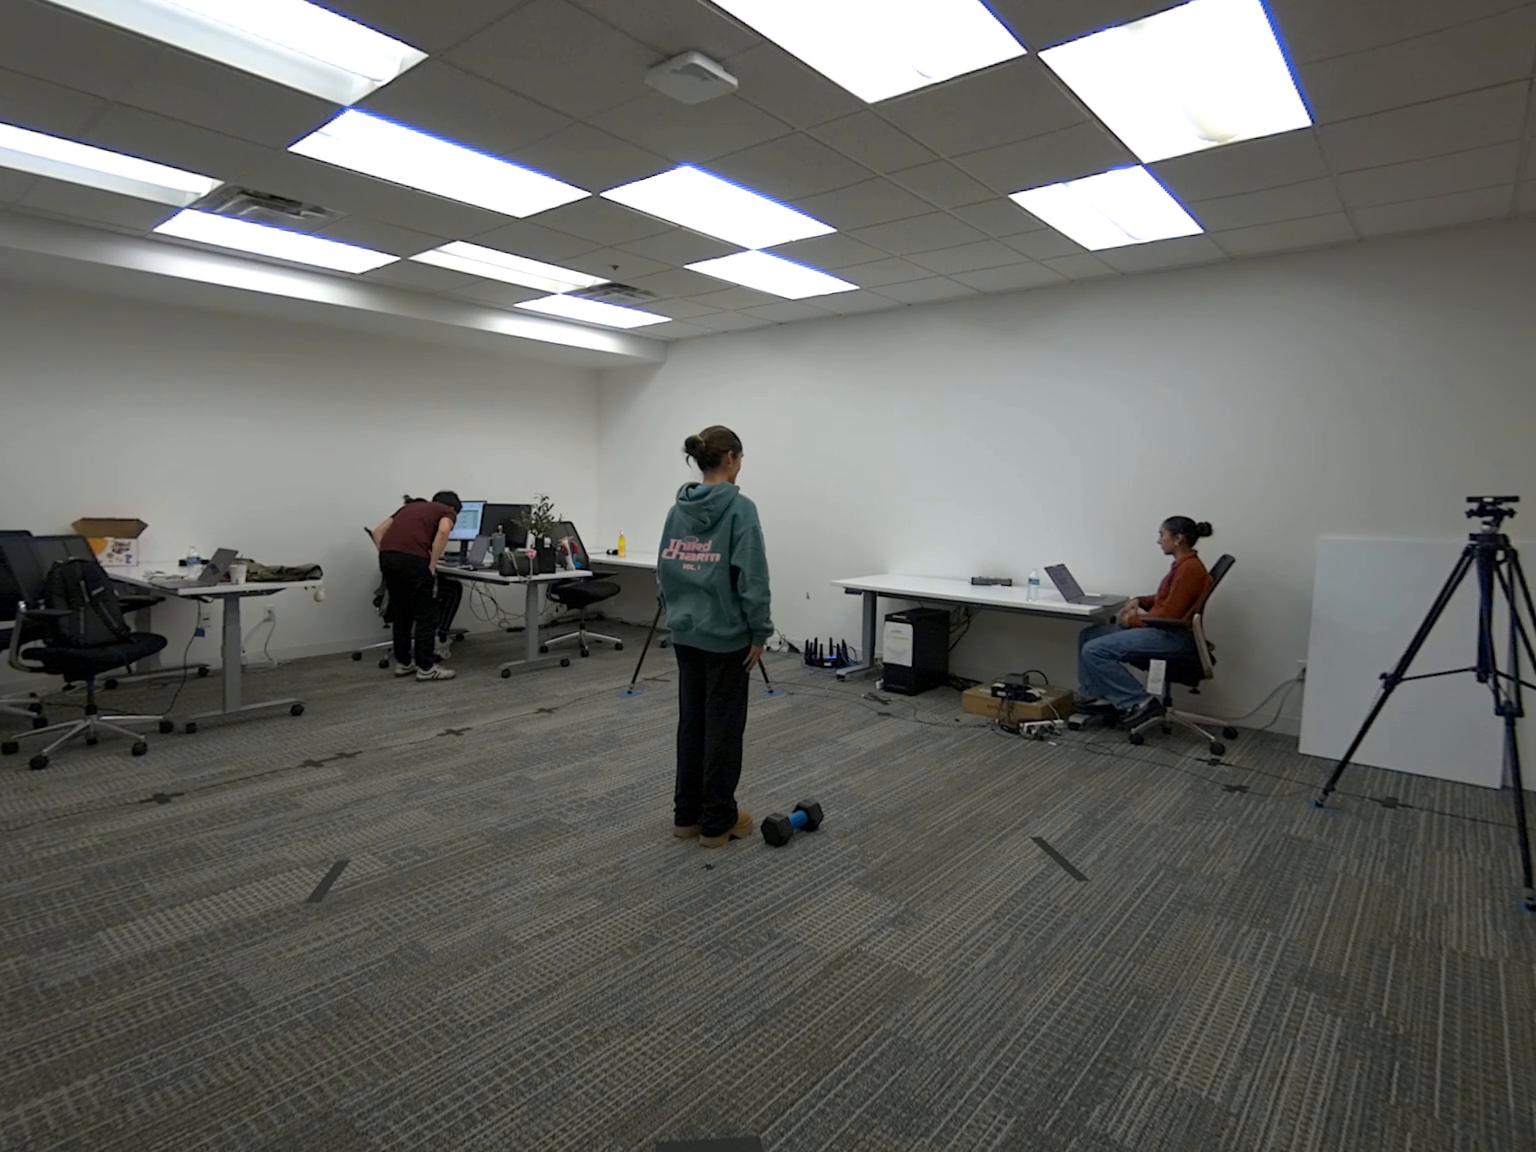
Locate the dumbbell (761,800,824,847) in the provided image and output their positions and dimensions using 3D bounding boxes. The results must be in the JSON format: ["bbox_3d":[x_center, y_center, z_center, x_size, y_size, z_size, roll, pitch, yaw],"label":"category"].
[{"bbox_3d":[0.092,0.989,3.416,0.113,0.122,0.285,41,28,30],"label":"dumbbell"}]
